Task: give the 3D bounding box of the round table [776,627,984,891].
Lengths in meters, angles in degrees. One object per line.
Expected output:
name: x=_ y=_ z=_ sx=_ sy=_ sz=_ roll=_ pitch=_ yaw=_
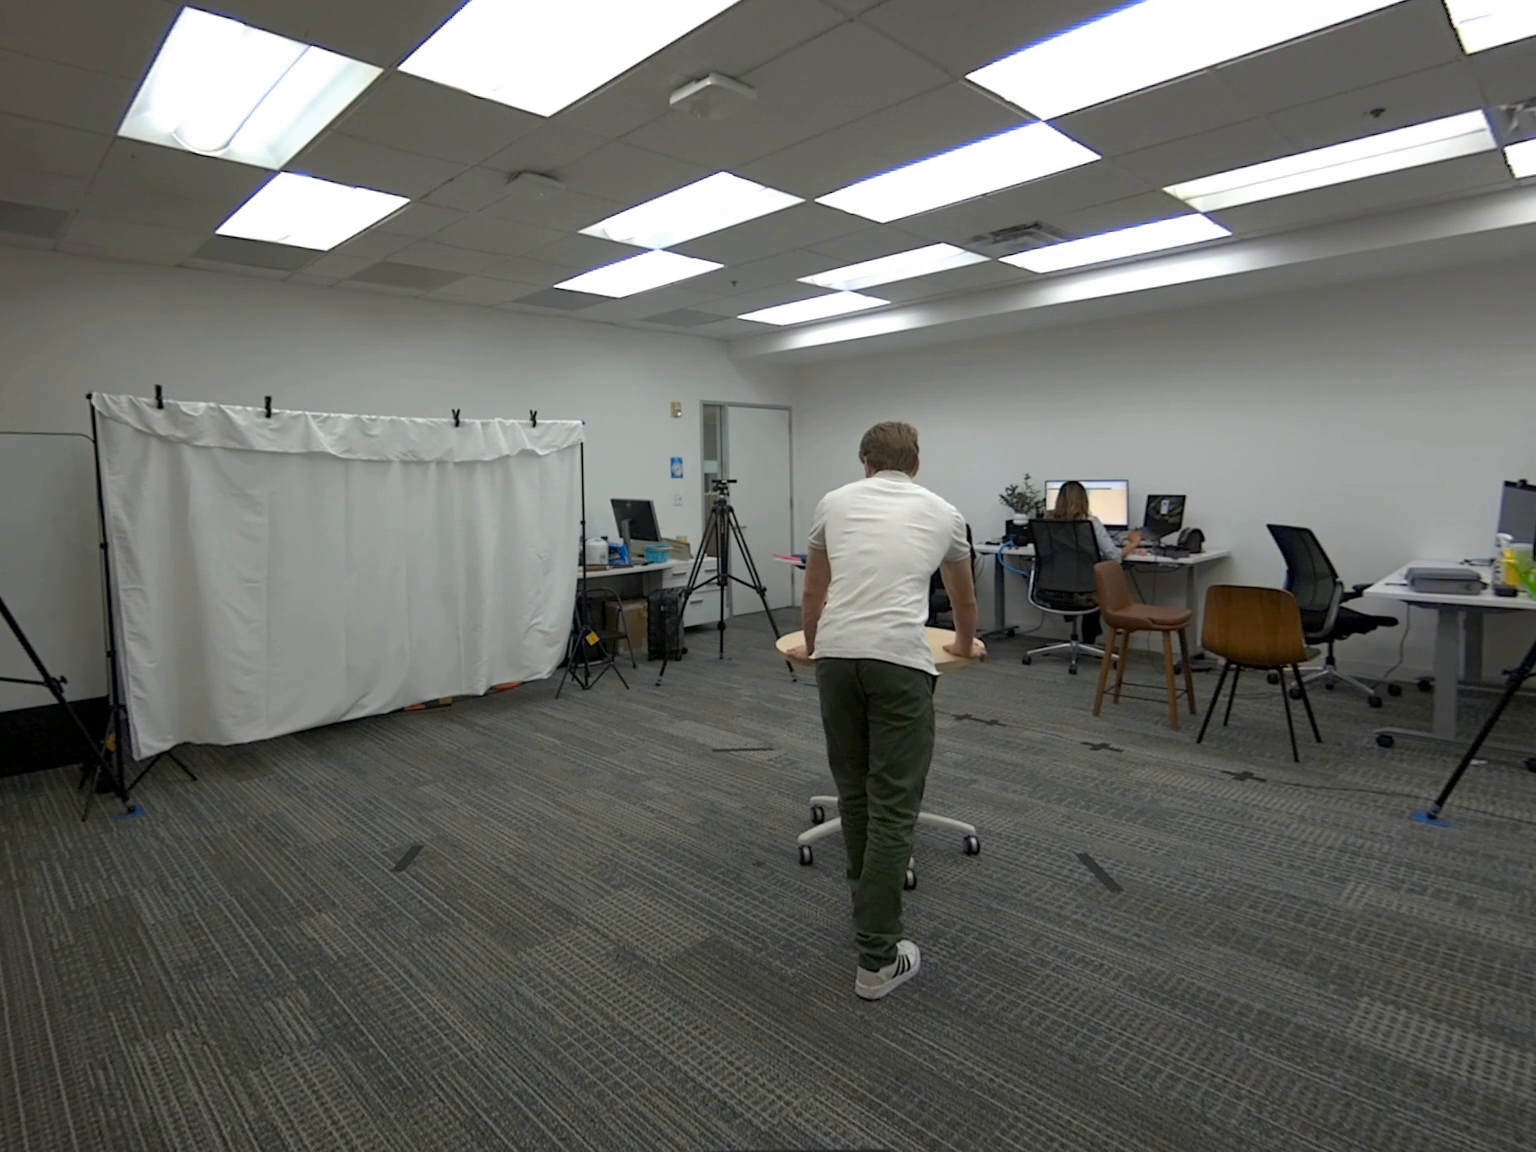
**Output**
round table: x=0.428 y=0.641 z=3.242 sx=0.763 sy=0.791 sz=0.768 roll=-1 pitch=5 yaw=-2
